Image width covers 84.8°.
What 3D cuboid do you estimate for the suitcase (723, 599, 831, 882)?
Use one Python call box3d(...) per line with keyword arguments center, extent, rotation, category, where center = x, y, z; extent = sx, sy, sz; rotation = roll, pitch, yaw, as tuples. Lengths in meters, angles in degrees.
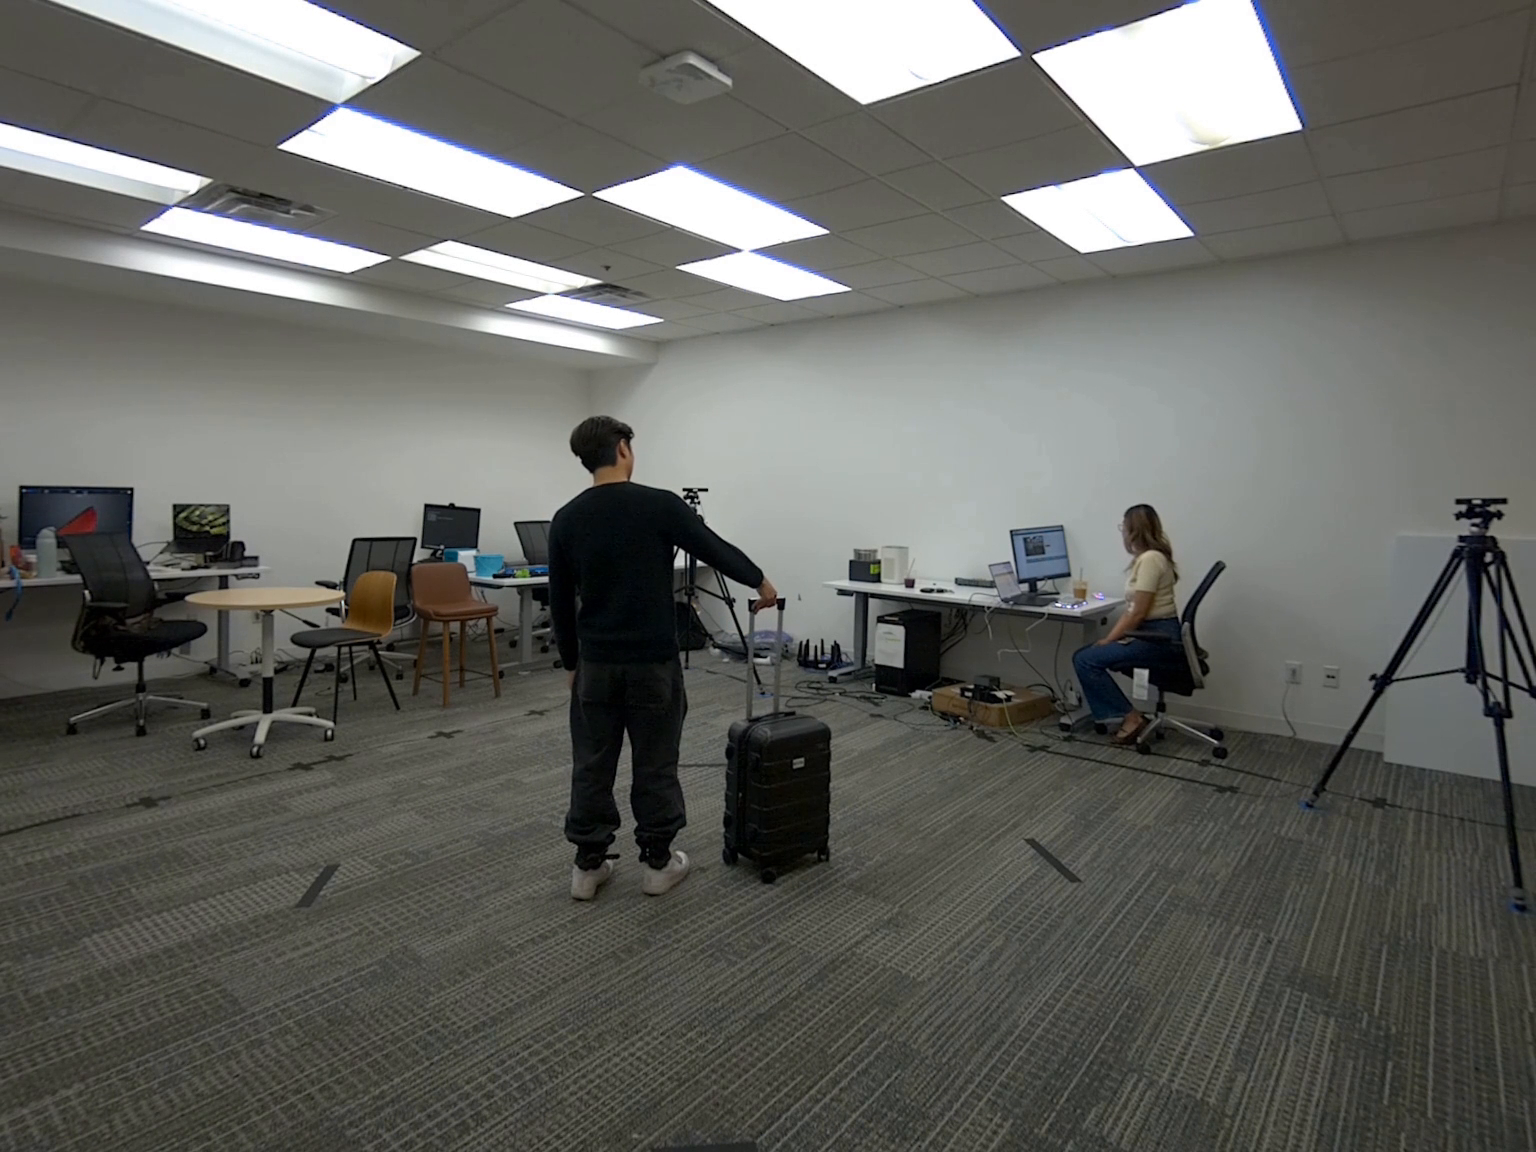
box3d(center=(0.045, 0.592, 3.167), extent=(0.373, 0.974, 0.266), rotation=(-1, 6, -35), category="suitcase")
